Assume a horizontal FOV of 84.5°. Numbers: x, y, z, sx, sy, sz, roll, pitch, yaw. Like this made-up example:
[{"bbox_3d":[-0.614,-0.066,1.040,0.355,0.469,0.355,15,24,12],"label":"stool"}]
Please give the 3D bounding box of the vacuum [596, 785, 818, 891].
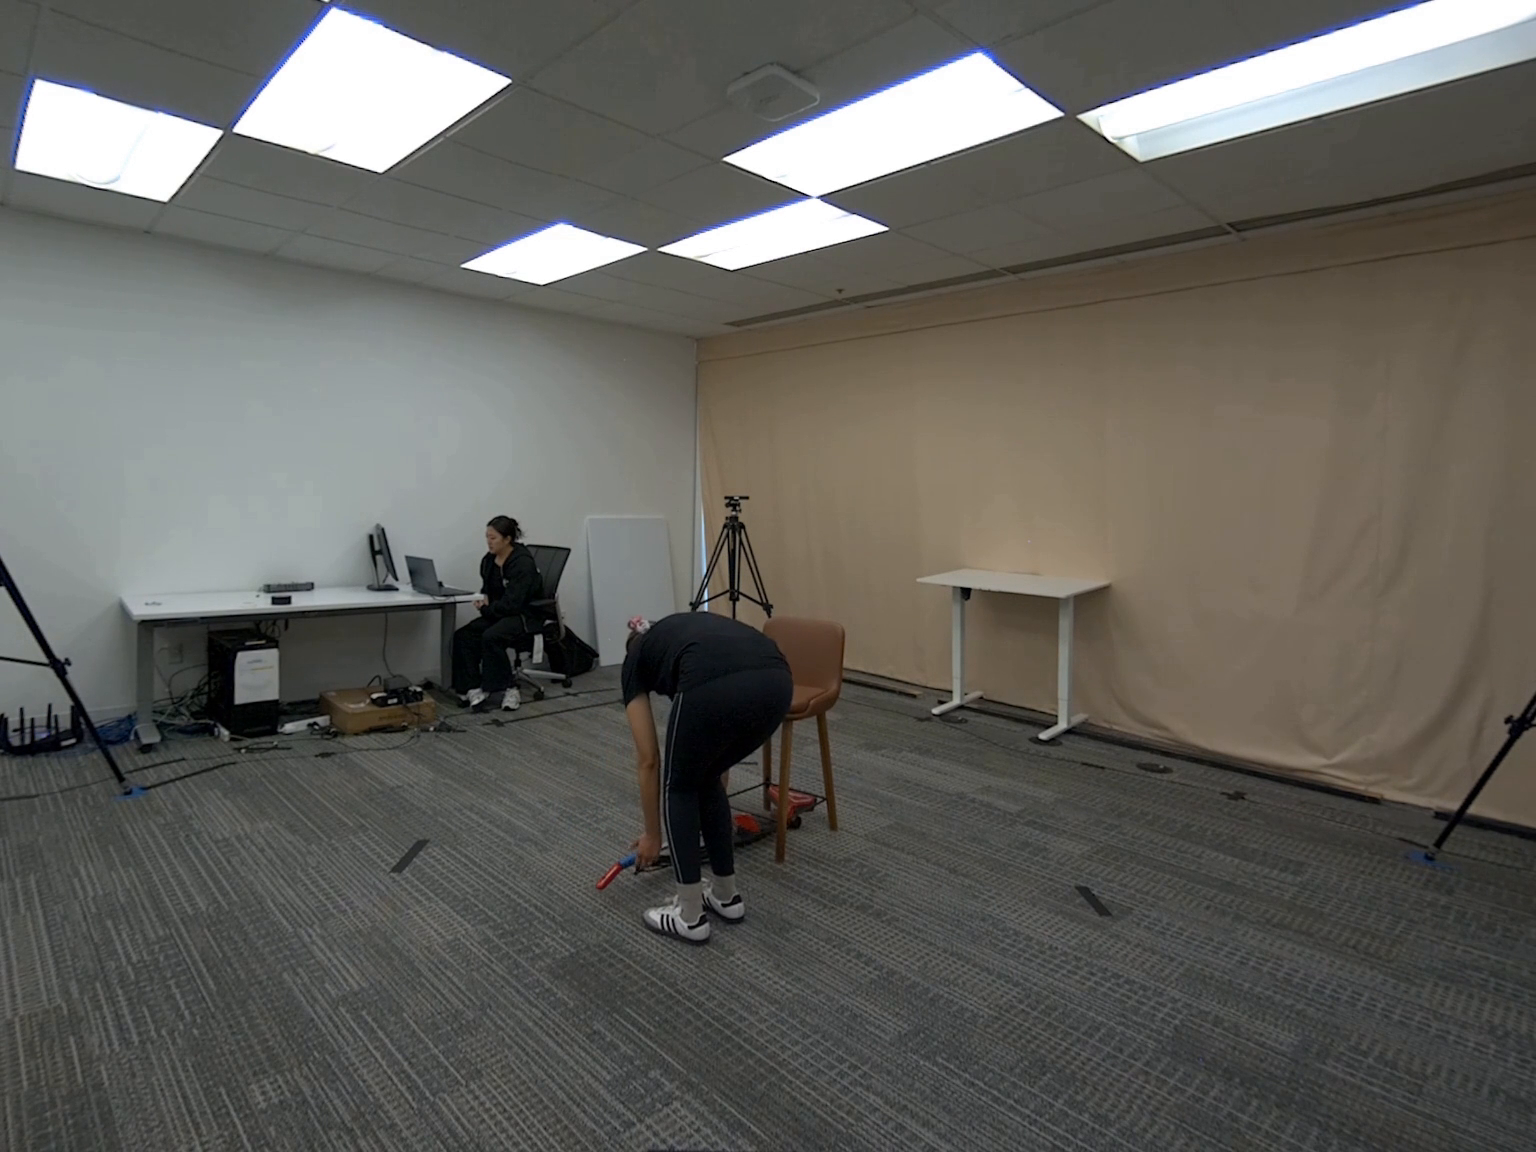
[{"bbox_3d":[-0.248,1.038,3.229,0.259,0.143,1.026,5,7,40],"label":"vacuum"}]
